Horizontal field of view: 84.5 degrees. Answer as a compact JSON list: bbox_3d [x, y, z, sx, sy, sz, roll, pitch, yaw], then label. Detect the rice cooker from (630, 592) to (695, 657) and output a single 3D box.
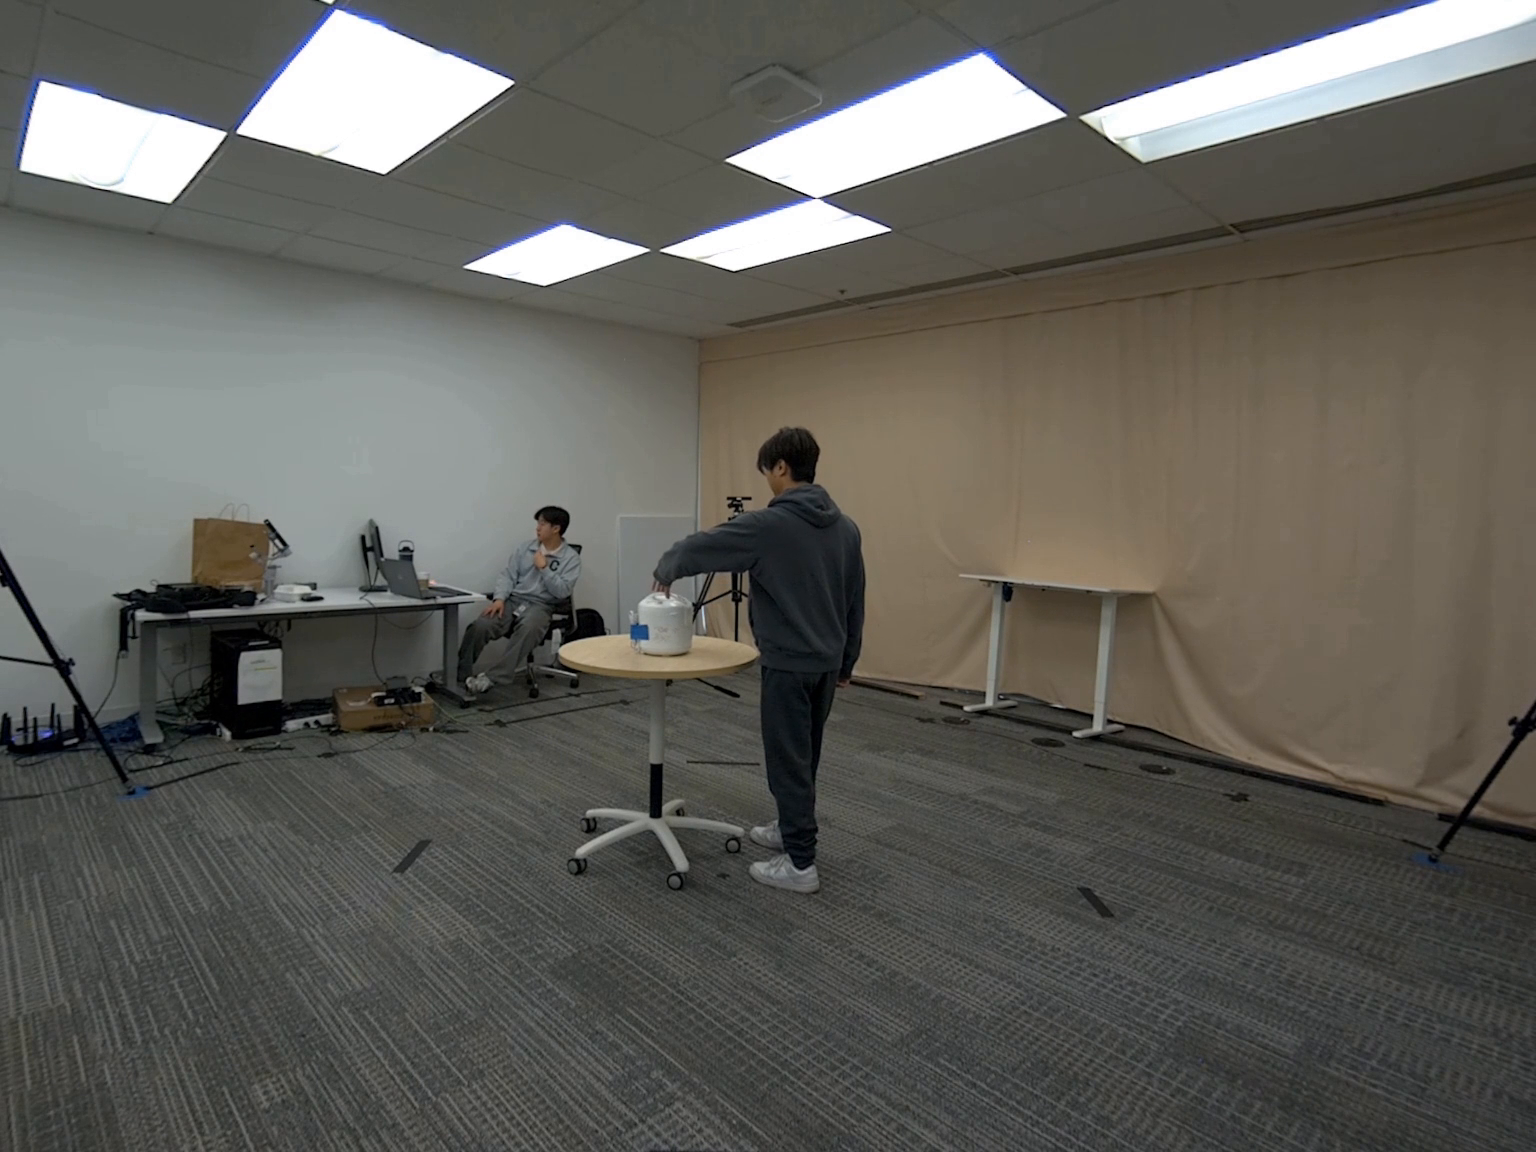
[{"bbox_3d":[-0.397,0.175,3.220,0.225,0.232,0.213,4,5,27],"label":"rice cooker"}]
